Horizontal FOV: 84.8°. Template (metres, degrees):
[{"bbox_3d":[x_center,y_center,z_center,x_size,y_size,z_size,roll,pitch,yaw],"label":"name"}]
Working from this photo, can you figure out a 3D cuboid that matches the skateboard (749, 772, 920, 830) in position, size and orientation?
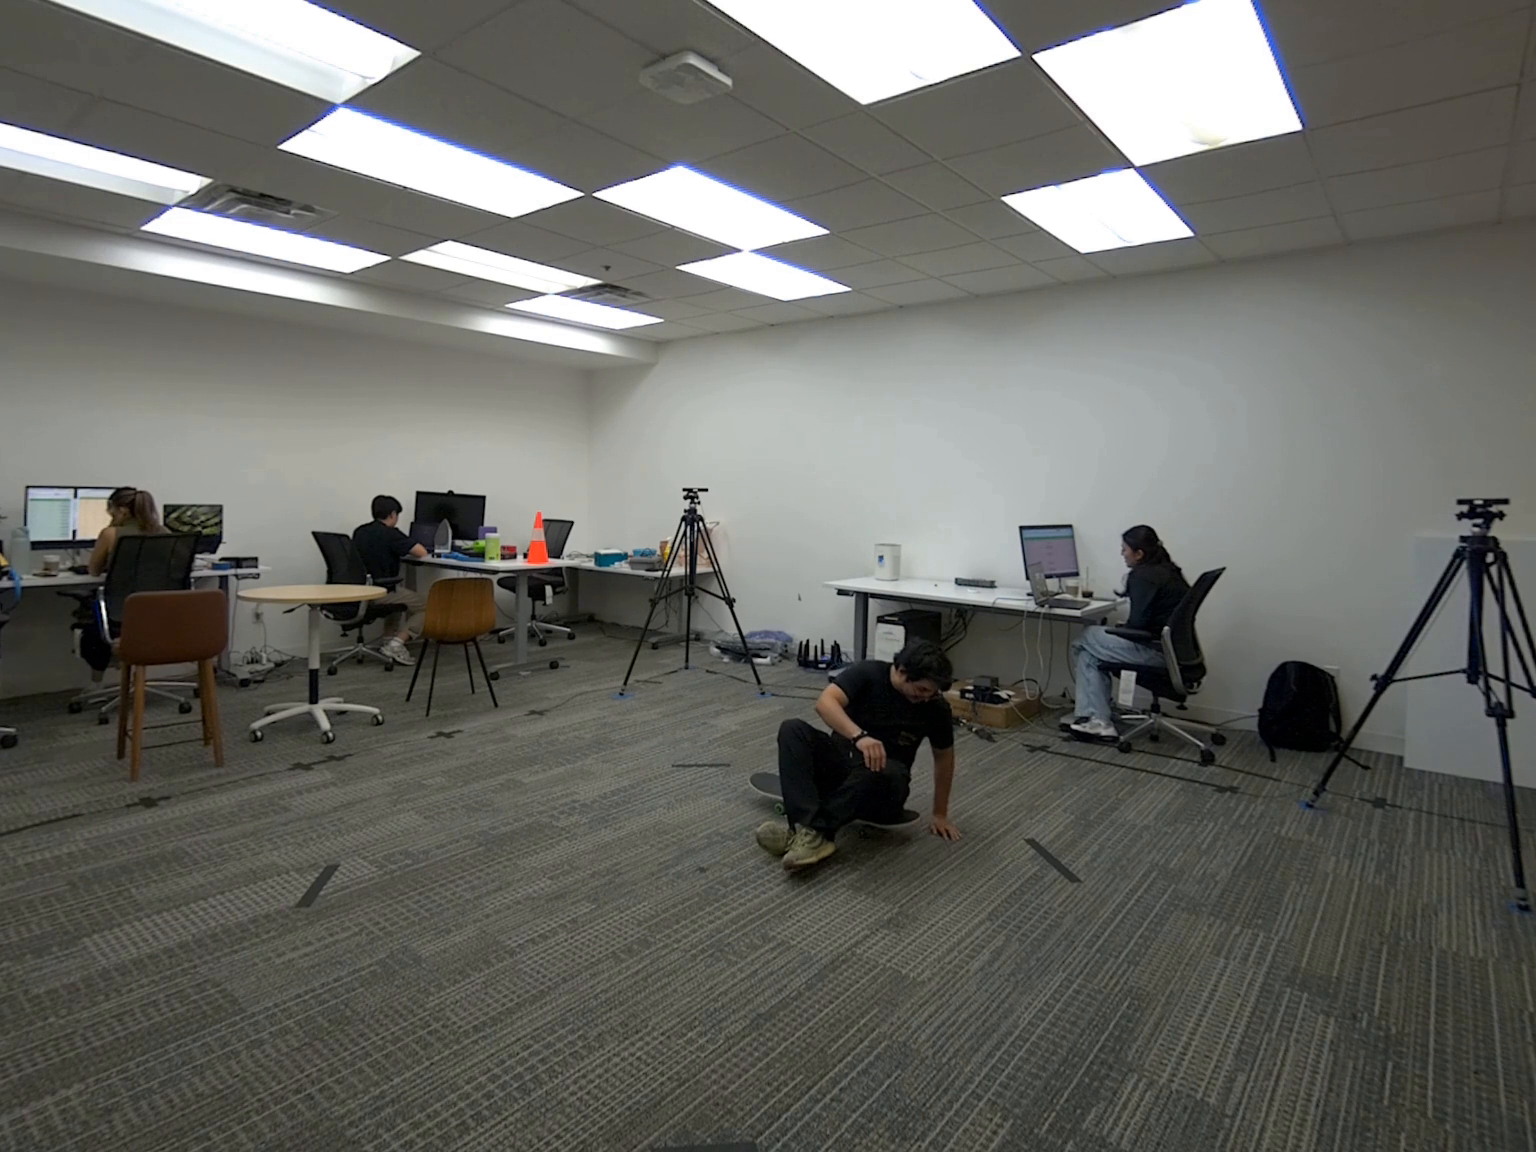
[{"bbox_3d":[0.254,0.975,3.604,0.812,0.110,0.188,7,9,36],"label":"skateboard"}]
